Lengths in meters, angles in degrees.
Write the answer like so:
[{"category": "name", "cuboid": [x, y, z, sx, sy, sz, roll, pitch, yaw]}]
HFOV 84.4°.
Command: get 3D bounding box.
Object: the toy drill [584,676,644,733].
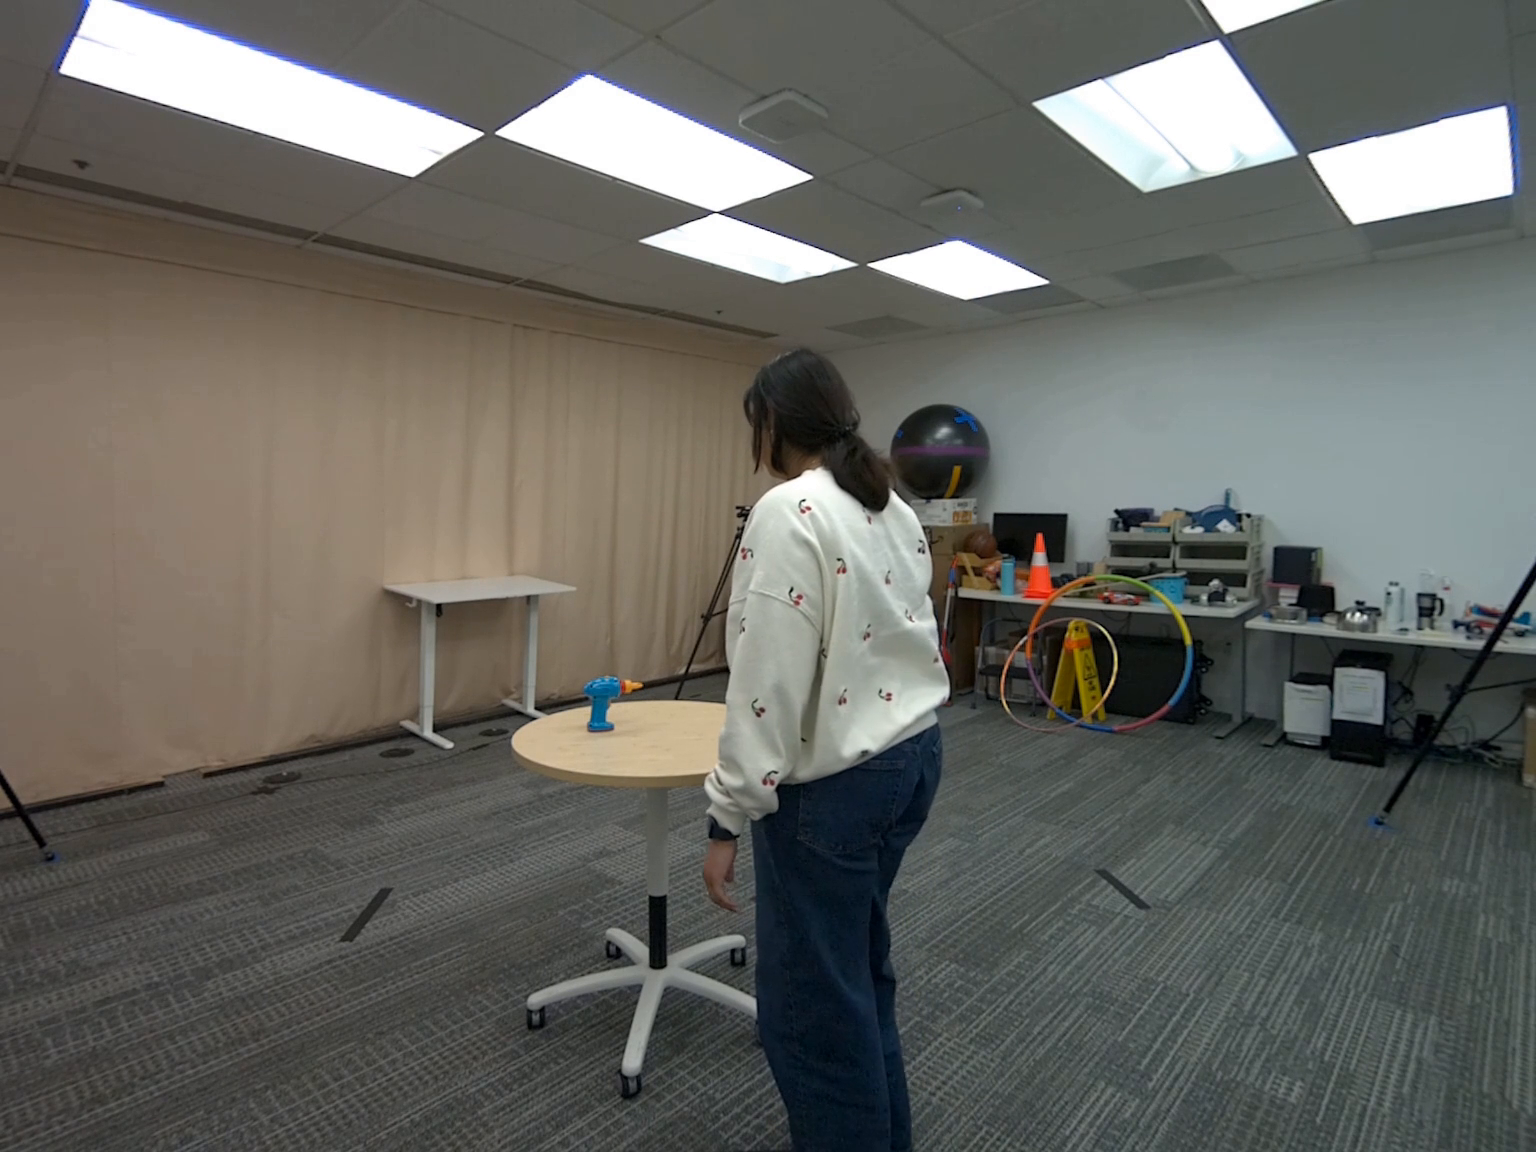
[{"category": "toy drill", "cuboid": [-0.426, 0.348, 2.305, 0.165, 0.146, 0.063, -1, 1, -27]}]
